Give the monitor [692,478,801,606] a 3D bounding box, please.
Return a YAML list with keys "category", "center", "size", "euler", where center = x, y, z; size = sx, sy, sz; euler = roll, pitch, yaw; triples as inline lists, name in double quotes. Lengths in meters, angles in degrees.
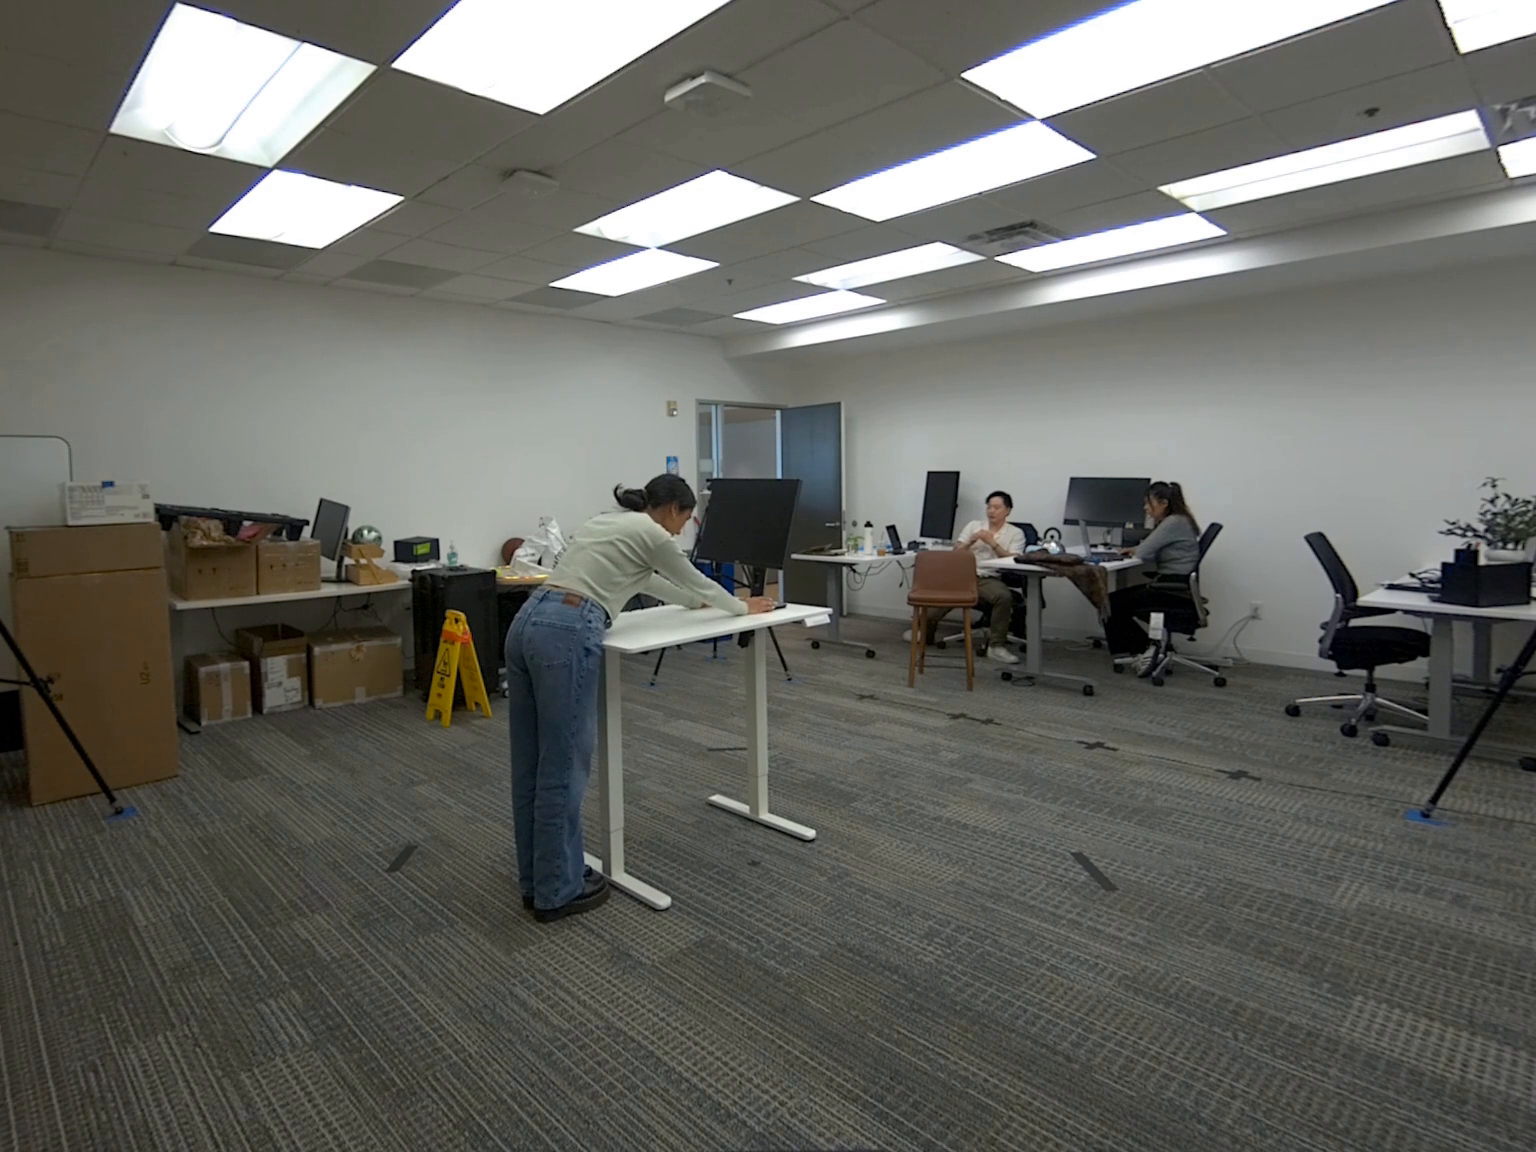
- category: "monitor"
  center: [-0.064, -0.133, 3.450]
  size: [0.182, 0.521, 0.556]
  euler: [-1, 5, -41]
